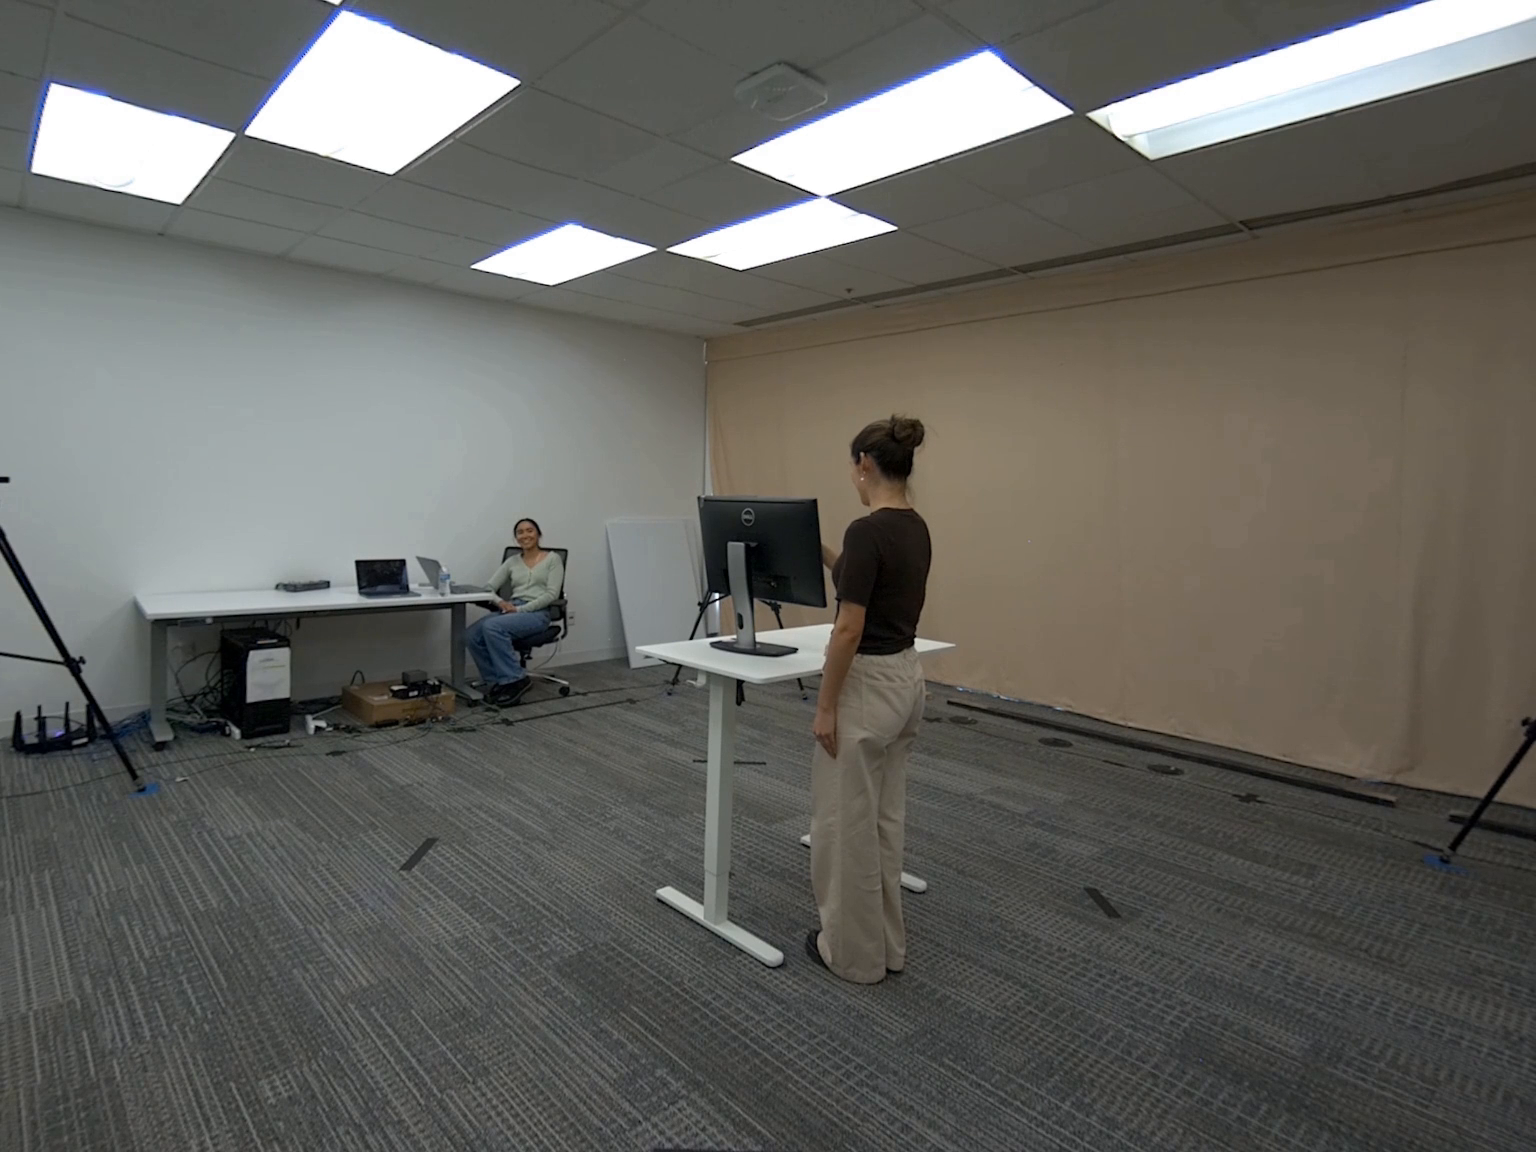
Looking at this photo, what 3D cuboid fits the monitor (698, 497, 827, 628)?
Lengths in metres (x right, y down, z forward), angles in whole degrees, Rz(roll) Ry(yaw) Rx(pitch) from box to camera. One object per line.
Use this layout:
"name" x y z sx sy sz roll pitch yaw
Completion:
"monitor" -0.055 -0.002 2.800 0.553 0.521 0.183 5 4 44
